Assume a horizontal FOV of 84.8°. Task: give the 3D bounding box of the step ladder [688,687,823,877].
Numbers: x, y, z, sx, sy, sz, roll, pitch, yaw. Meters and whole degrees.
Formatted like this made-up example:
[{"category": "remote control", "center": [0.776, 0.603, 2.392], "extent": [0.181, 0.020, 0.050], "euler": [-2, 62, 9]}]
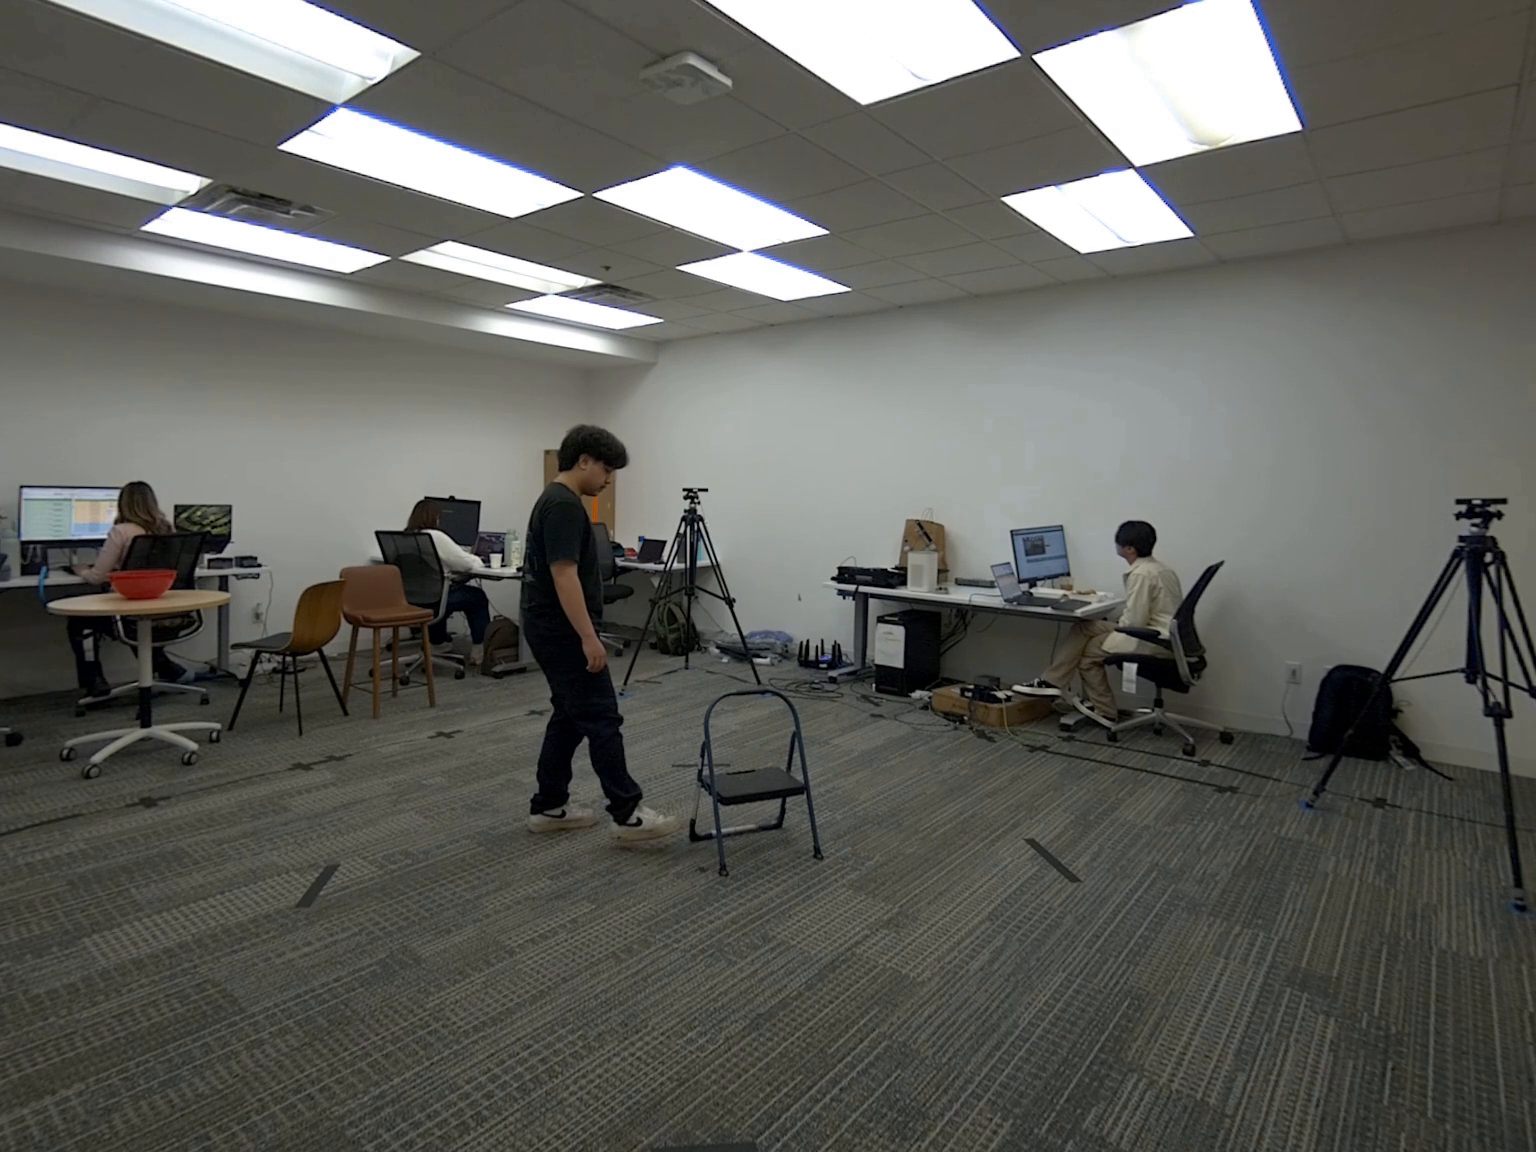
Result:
[{"category": "step ladder", "center": [-0.056, 0.752, 3.281], "extent": [0.420, 0.604, 0.359], "euler": [0, 4, -26]}]
